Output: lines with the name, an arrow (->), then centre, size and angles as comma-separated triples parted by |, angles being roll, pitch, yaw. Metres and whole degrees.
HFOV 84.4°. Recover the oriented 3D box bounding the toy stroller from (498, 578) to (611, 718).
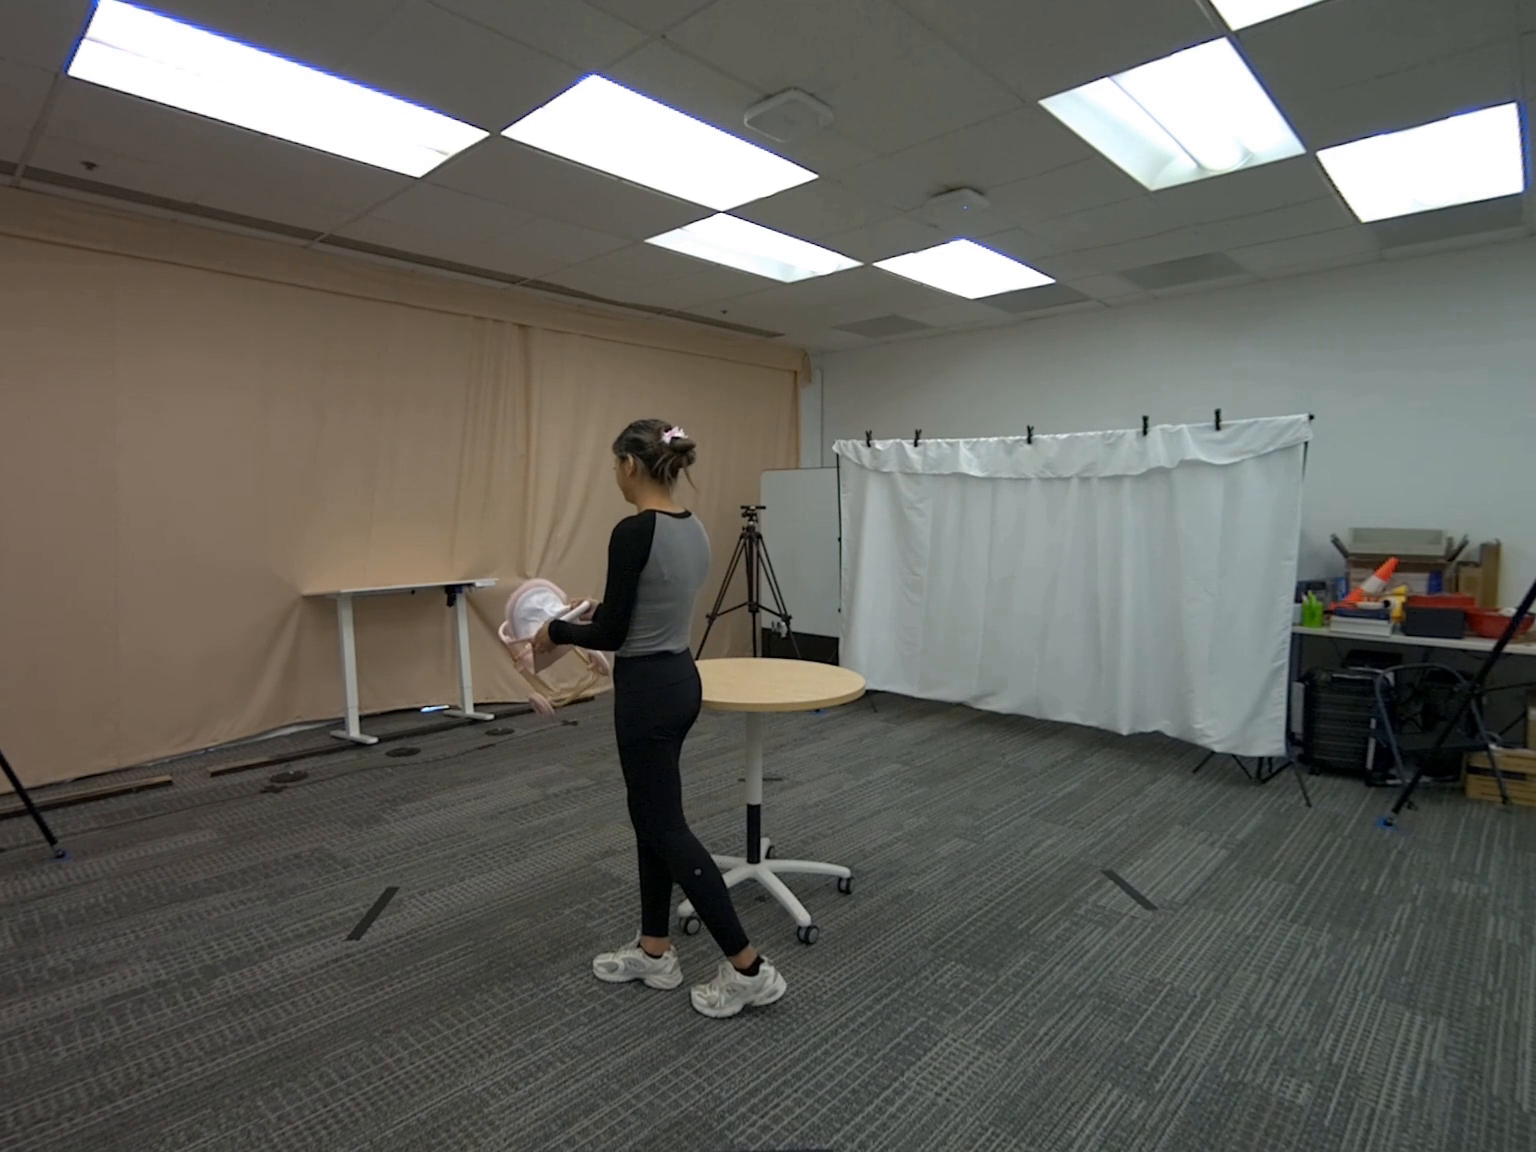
toy stroller -> -0.735, 0.199, 2.785 | 0.277, 0.526, 0.352 | -33, 57, -29
